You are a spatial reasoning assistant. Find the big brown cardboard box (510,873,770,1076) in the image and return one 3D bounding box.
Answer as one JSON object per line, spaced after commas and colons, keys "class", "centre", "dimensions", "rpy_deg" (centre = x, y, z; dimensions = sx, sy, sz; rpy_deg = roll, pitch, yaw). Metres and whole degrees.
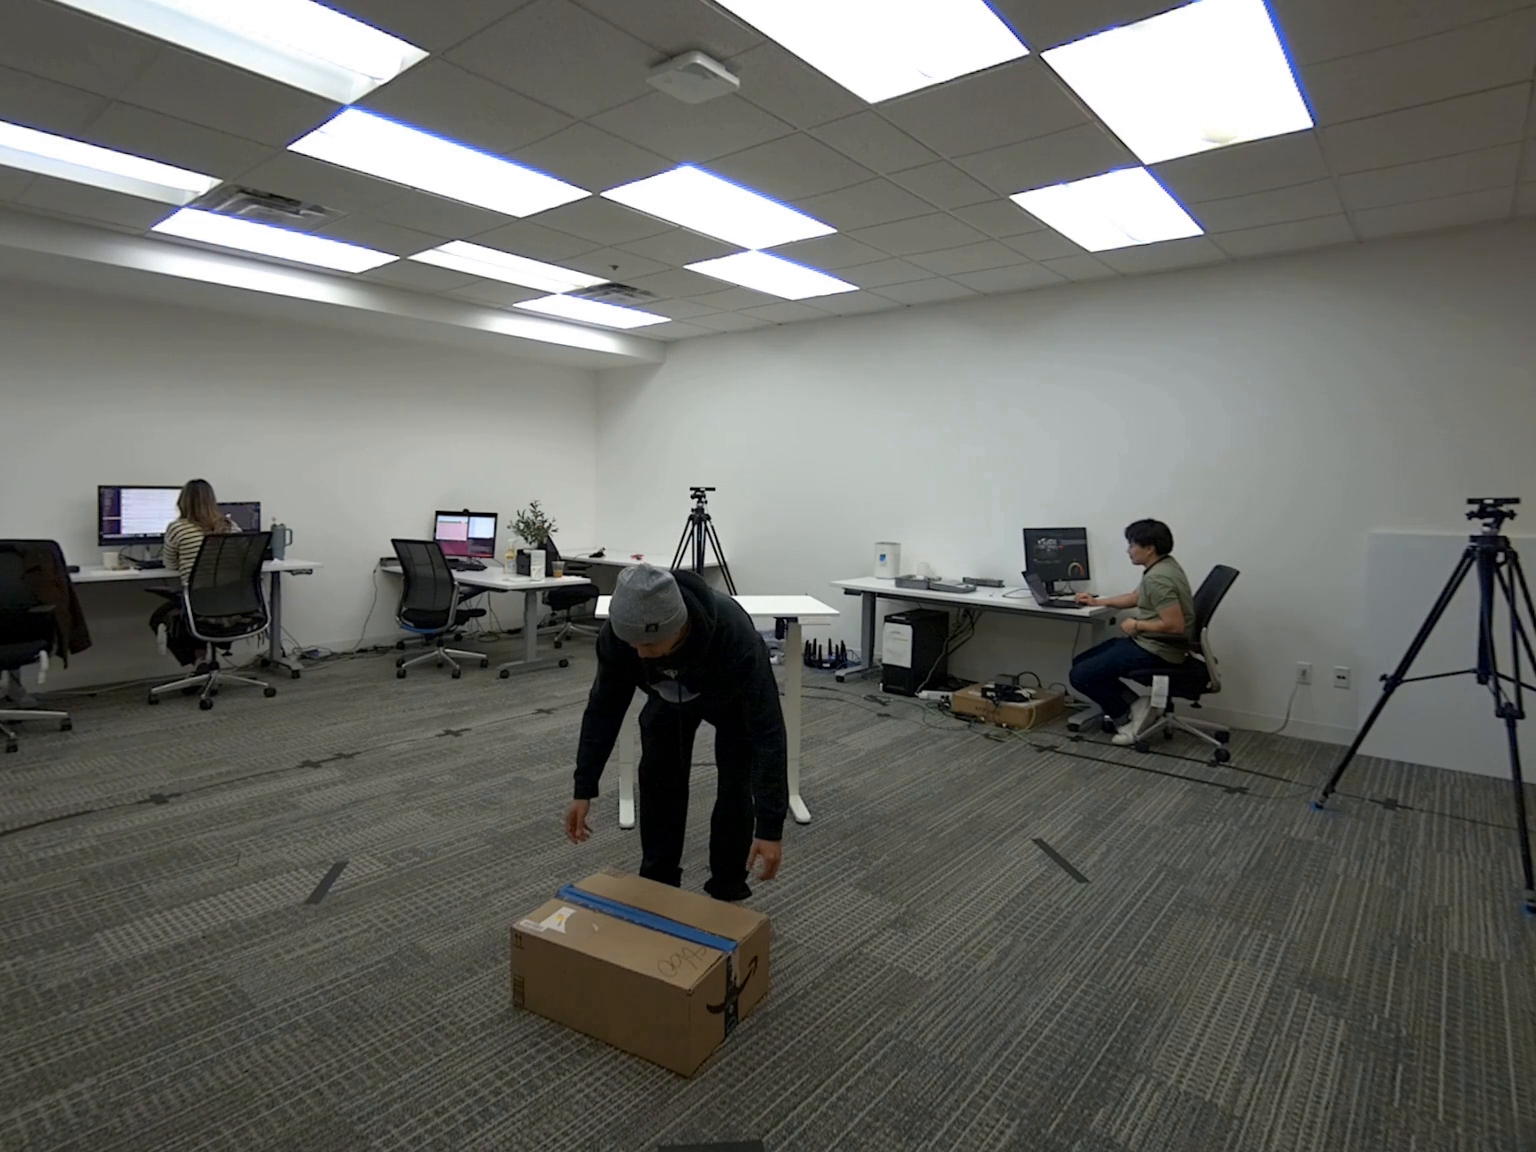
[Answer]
{"class": "big brown cardboard box", "centre": [-0.354, 1.032, 2.309], "dimensions": [0.606, 0.232, 0.408], "rpy_deg": [4, 7, 28]}
